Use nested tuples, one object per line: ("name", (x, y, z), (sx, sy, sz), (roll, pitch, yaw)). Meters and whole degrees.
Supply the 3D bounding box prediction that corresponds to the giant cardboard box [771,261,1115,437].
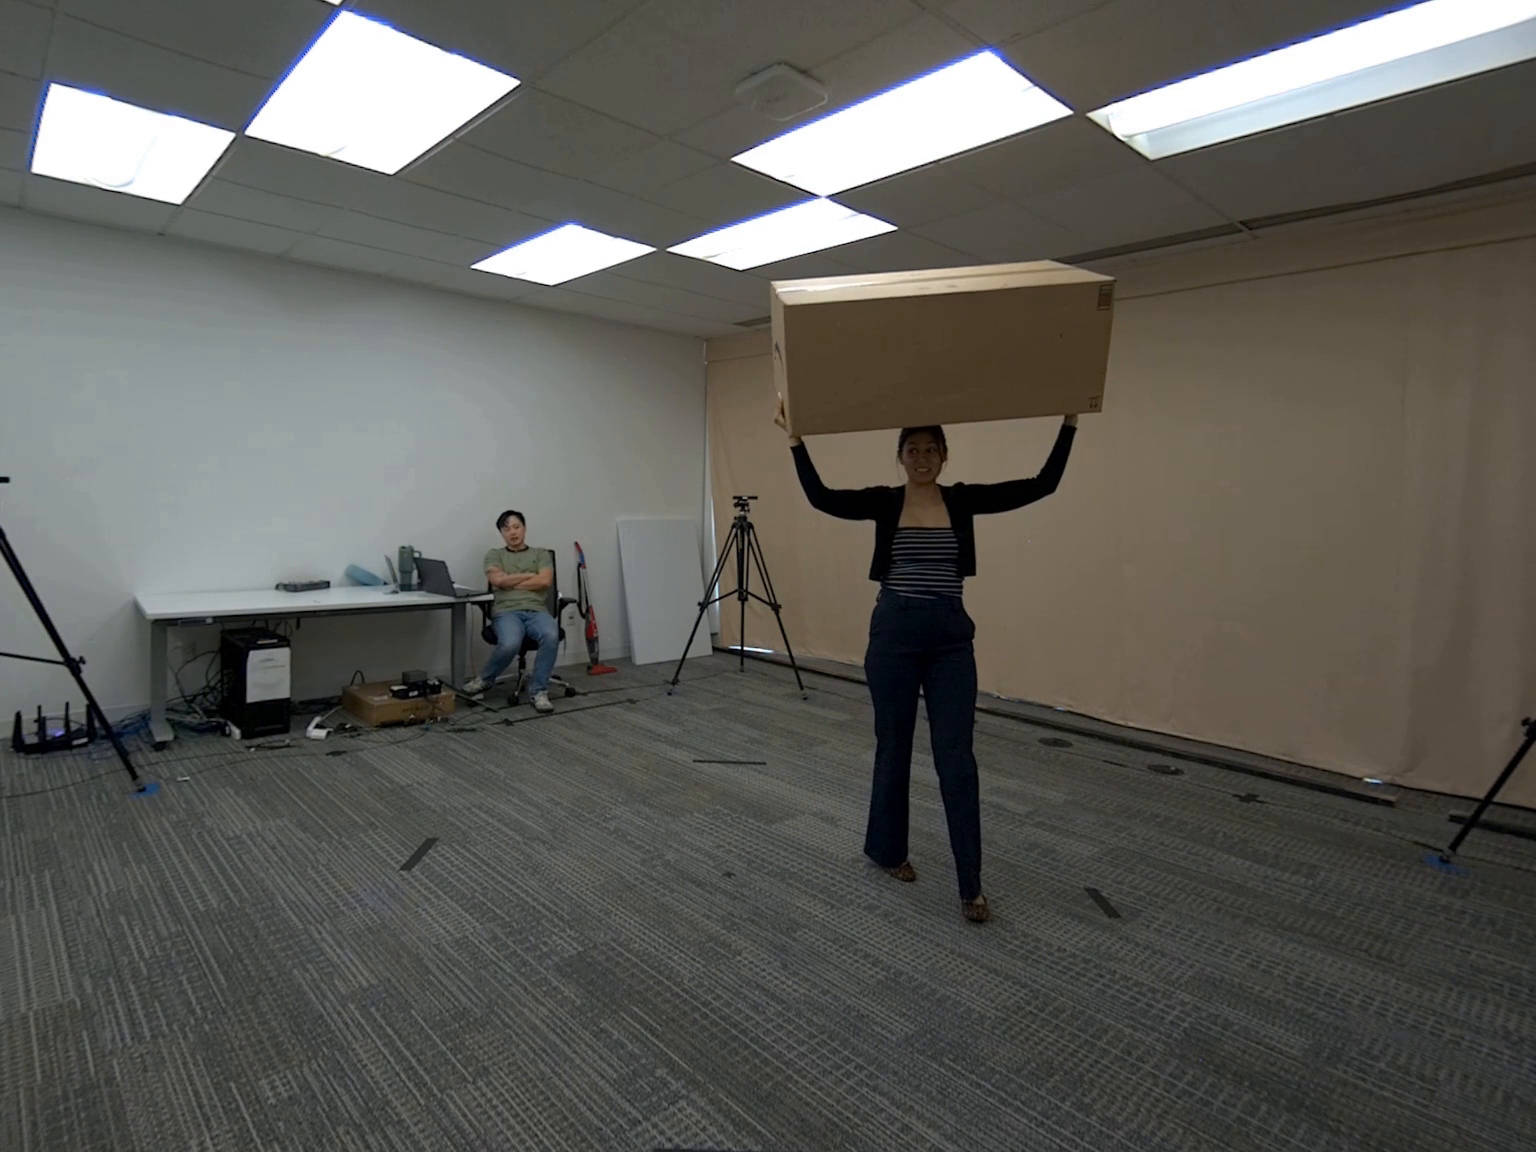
("giant cardboard box", (0.544, -0.796, 2.901), (1.026, 0.418, 0.588), (-5, 25, 0))
